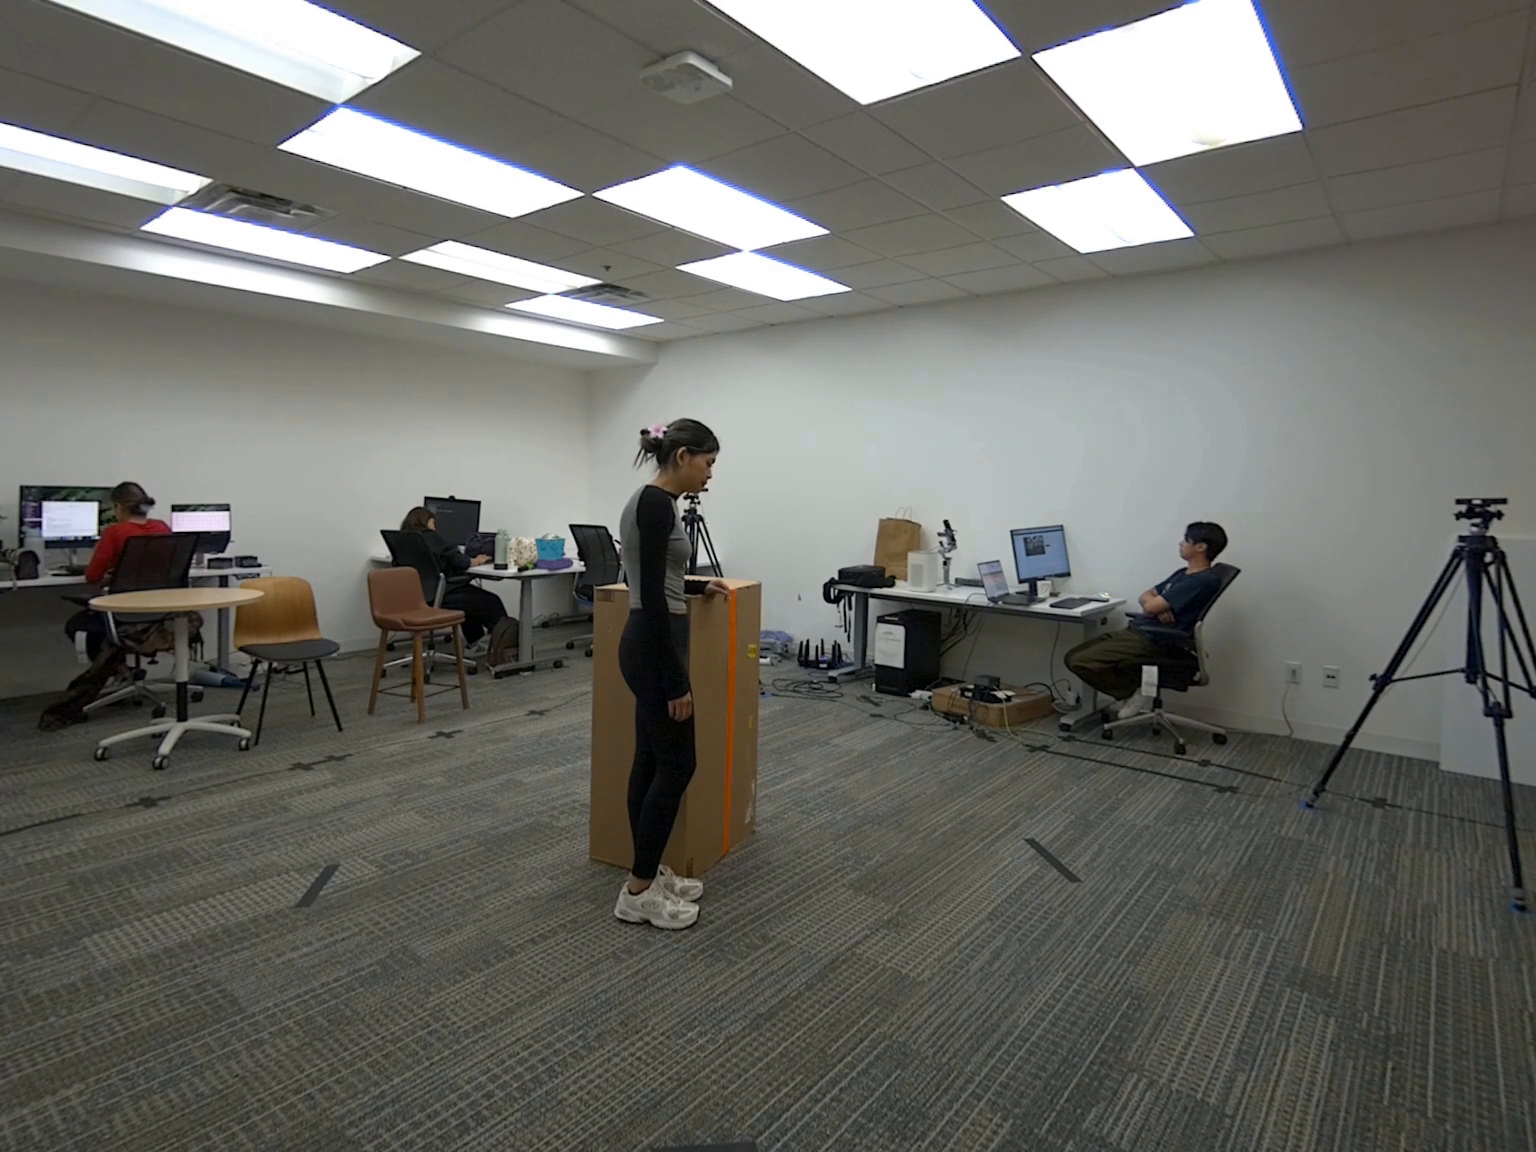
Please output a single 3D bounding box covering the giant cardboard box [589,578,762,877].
[{"bbox_3d":[-0.354,0.538,3.309,0.438,1.023,0.564,3,4,27],"label":"giant cardboard box"}]
